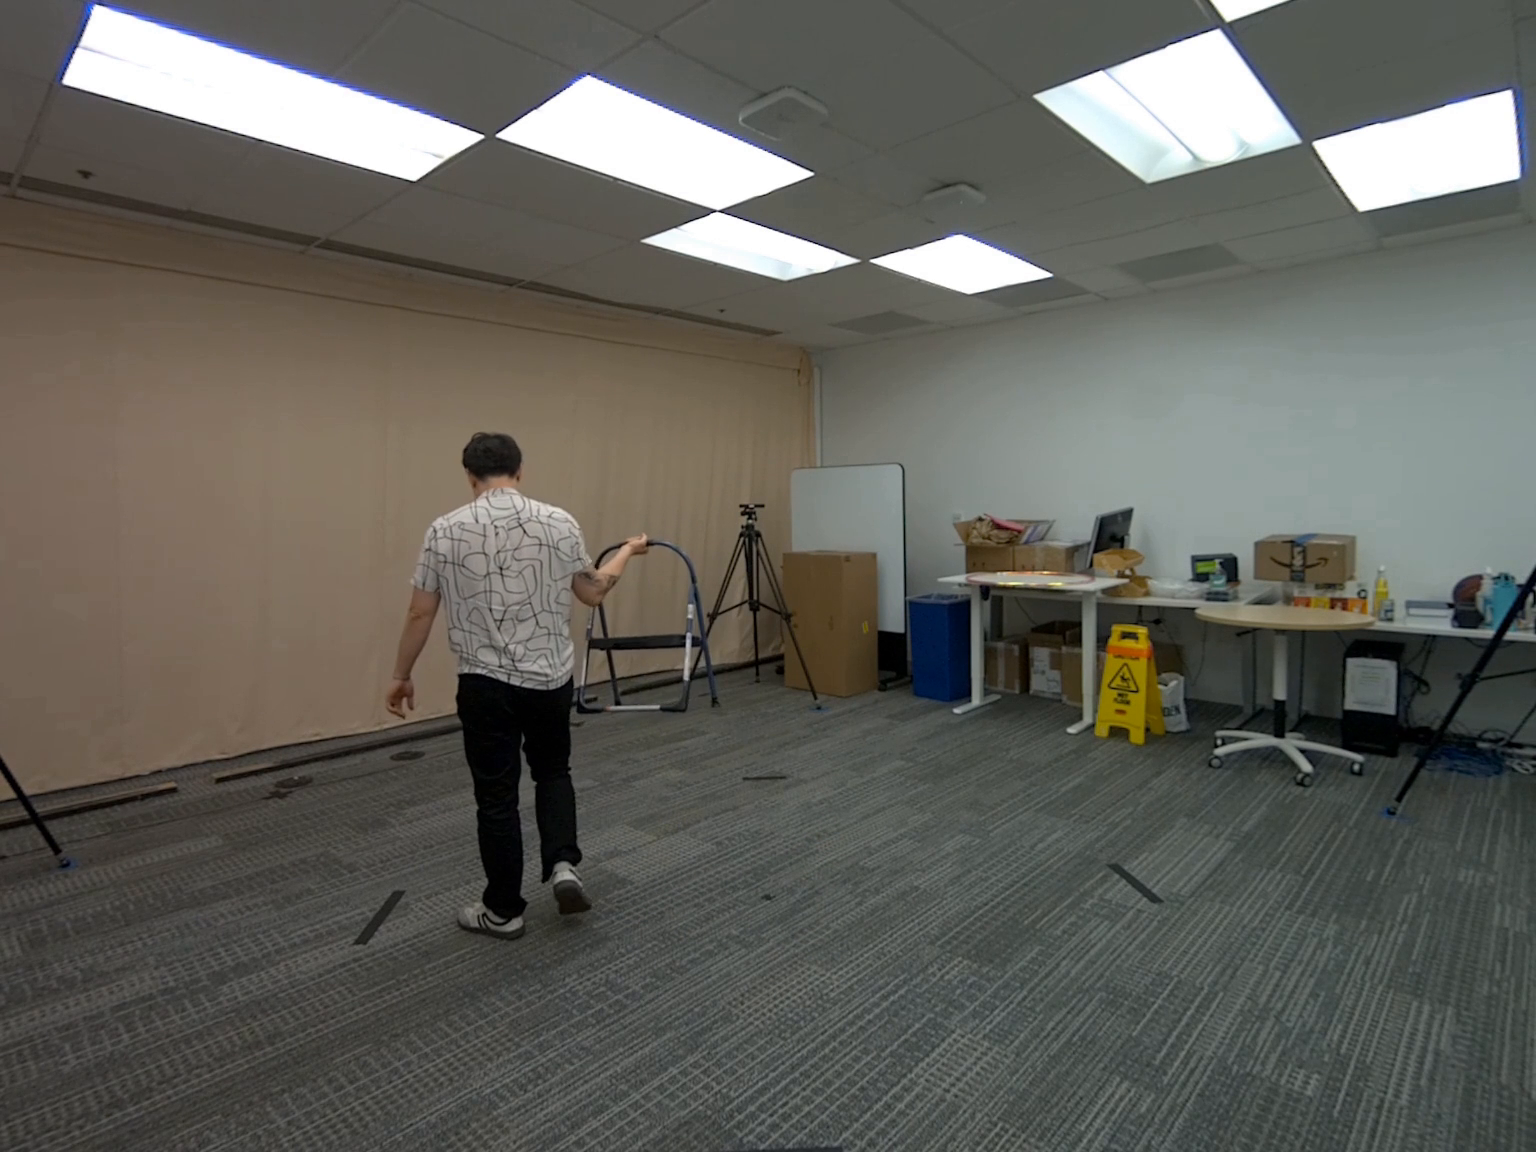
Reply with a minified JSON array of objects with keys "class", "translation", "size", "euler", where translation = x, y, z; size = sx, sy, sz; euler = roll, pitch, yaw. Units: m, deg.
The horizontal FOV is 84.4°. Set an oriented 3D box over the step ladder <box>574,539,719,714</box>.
[{"class":"step ladder","translation":[-0.439,0.187,3.078],"size":[0.438,0.610,0.341],"euler":[-5,-9,16]}]
